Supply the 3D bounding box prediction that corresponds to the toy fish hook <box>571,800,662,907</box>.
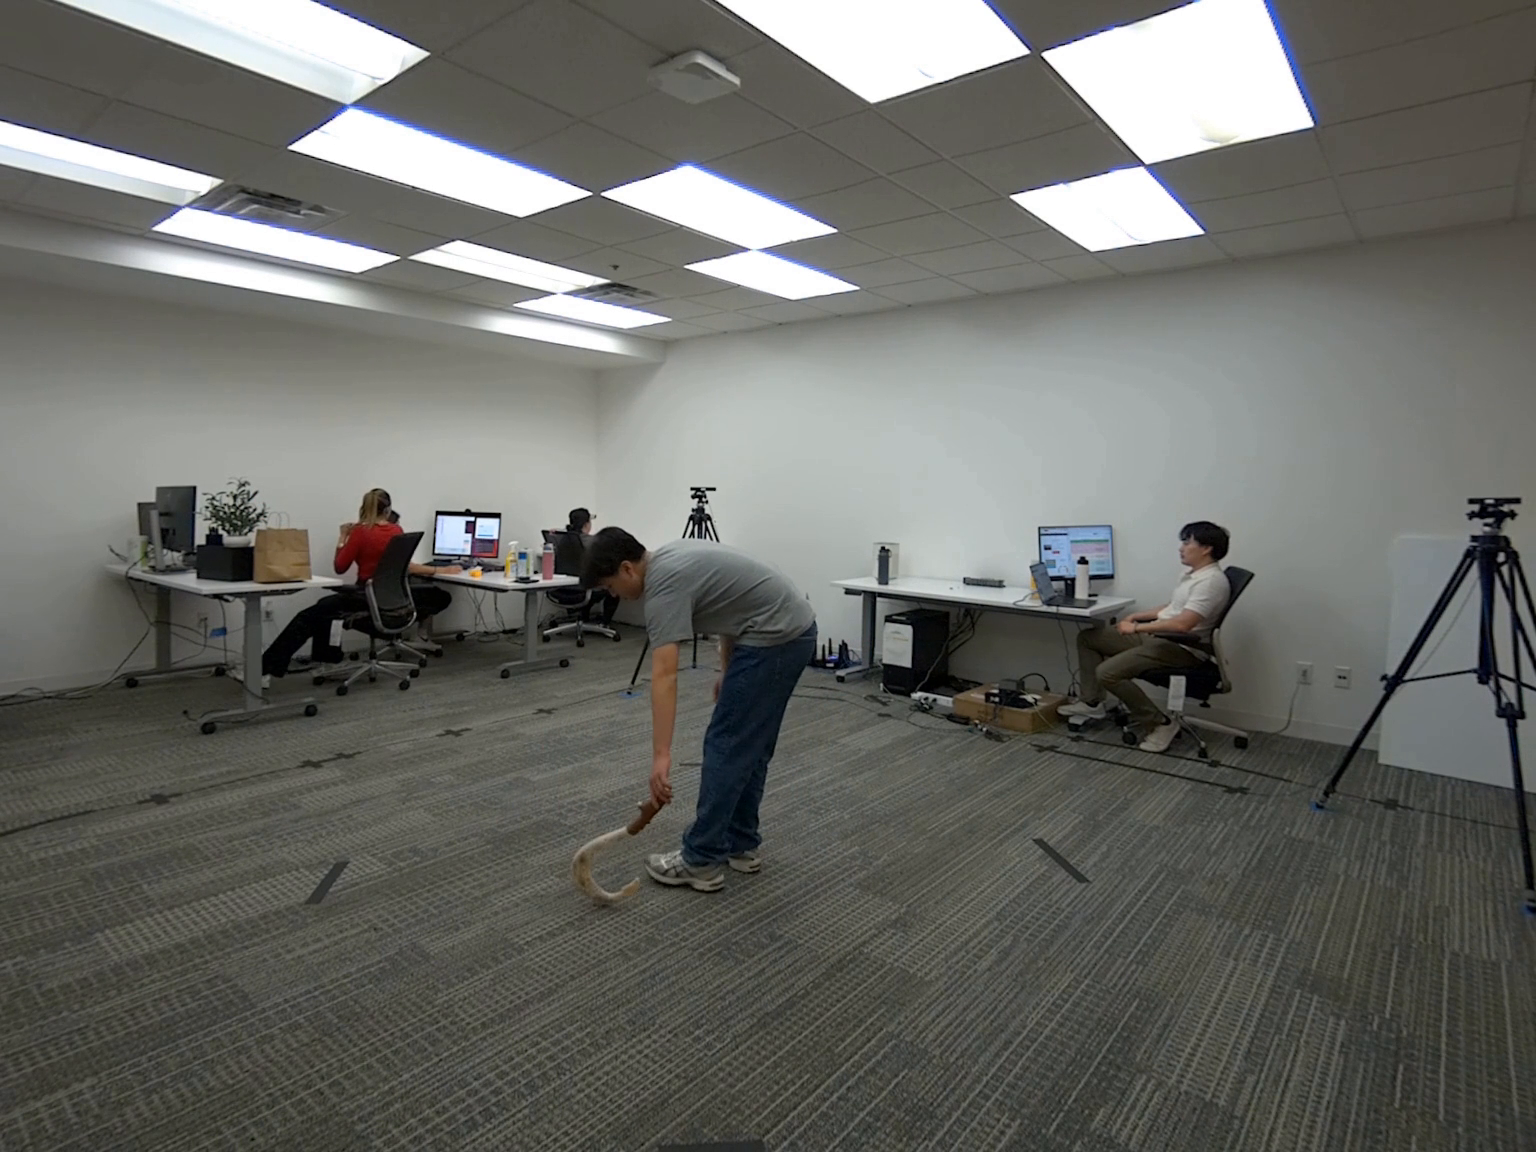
[{"bbox_3d":[-0.453,0.883,2.759,0.507,0.225,0.048,-45,0,19],"label":"toy fish hook"}]
